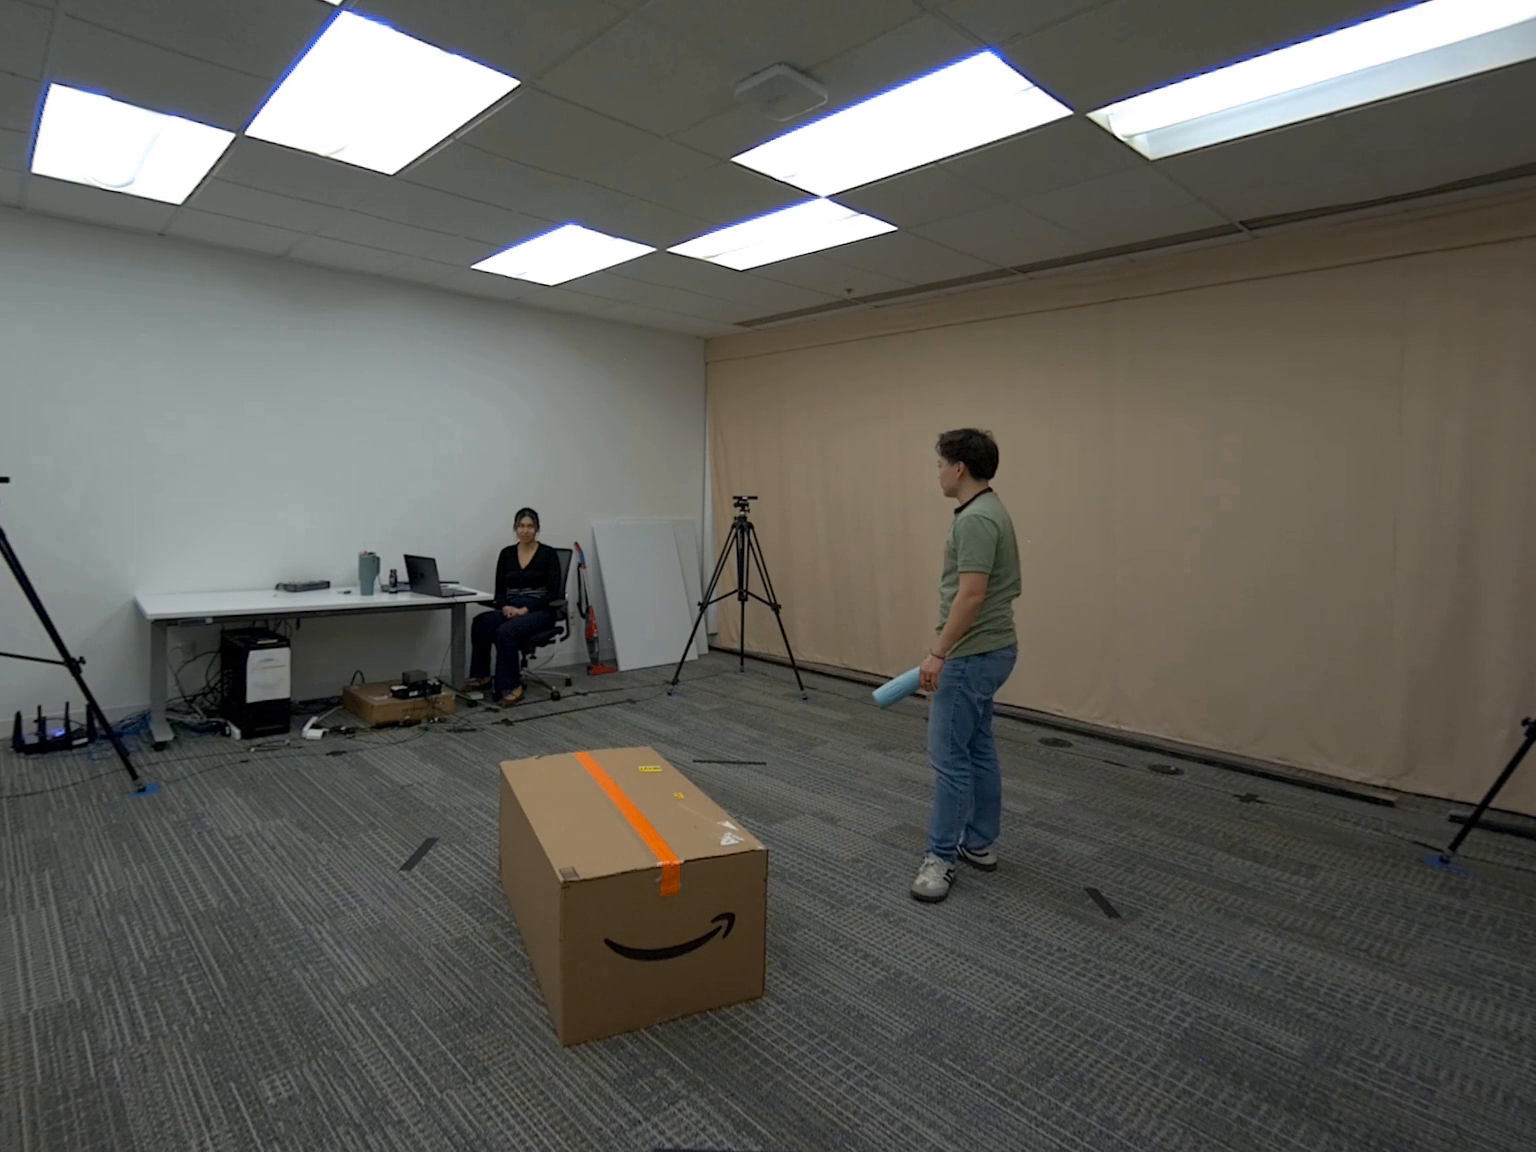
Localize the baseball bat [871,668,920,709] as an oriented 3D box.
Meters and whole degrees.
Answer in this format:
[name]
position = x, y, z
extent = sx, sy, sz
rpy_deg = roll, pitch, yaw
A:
[baseball bat]
position = 0.673, 0.393, 3.511
extent = 0.543, 0.088, 0.089
rpy_deg = -30, 6, -1
